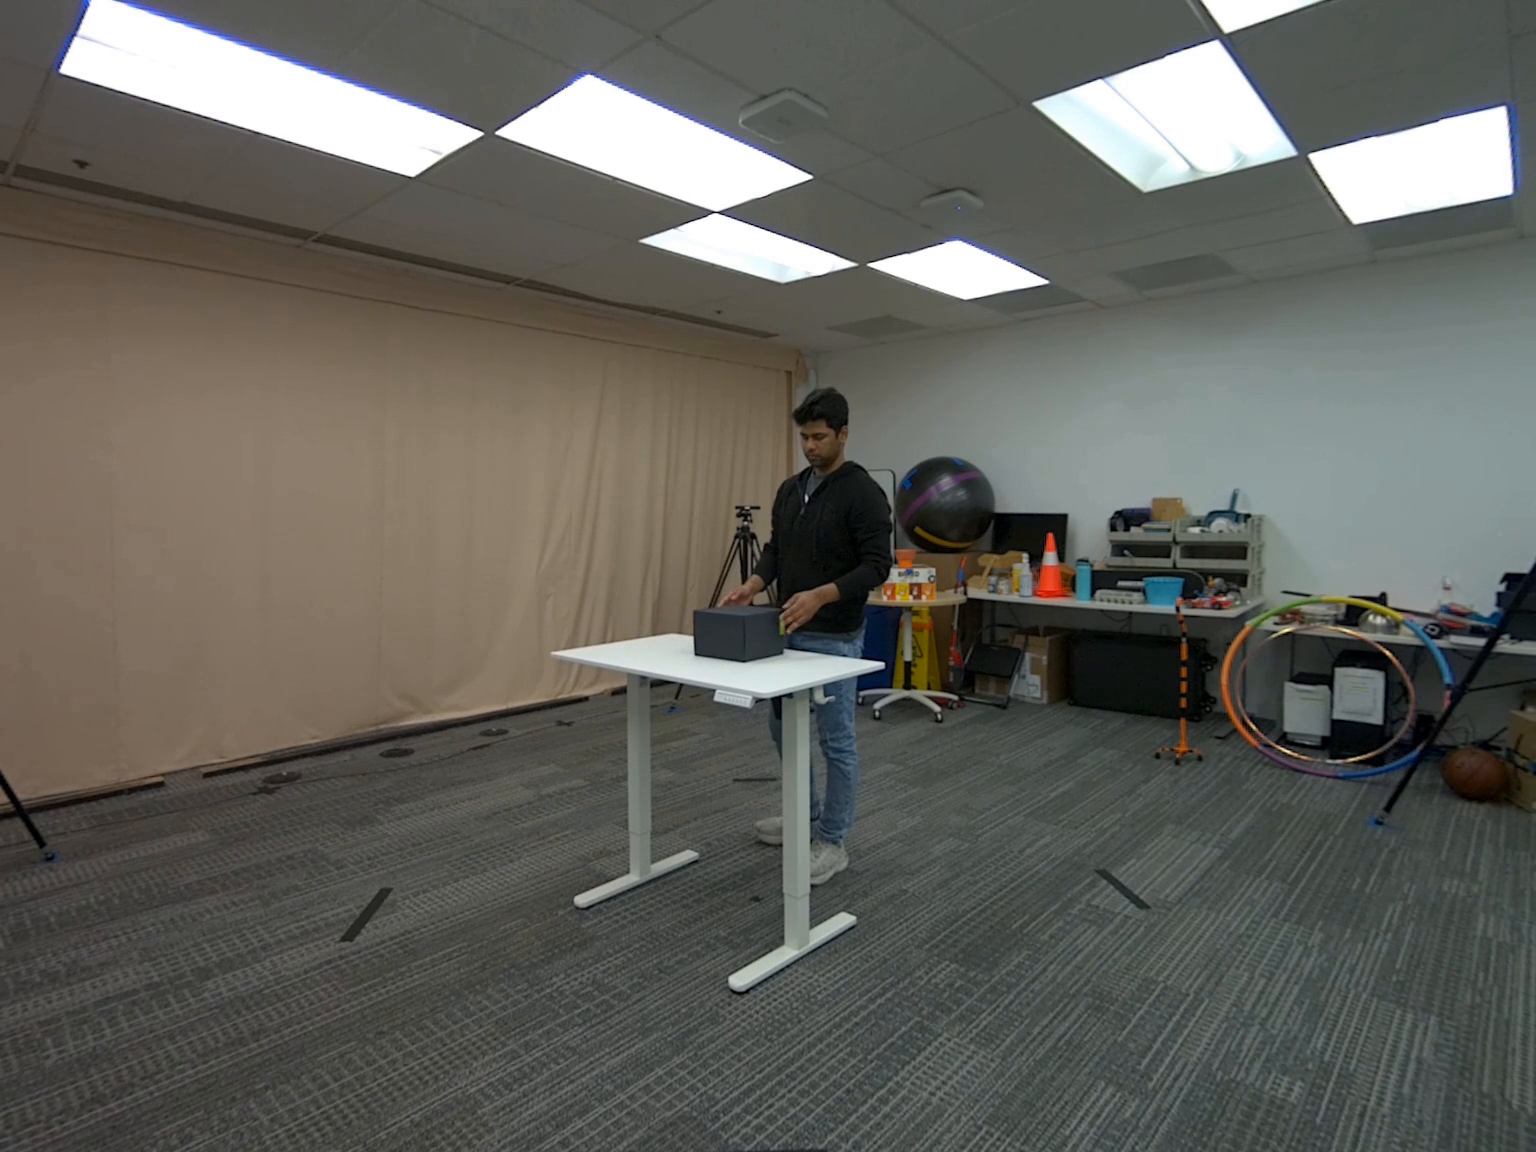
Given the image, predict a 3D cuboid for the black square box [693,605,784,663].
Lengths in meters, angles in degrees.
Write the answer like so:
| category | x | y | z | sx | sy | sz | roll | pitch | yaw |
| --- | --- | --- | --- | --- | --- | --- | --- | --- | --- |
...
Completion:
| category | x | y | z | sx | sy | sz | roll | pitch | yaw |
| --- | --- | --- | --- | --- | --- | --- | --- | --- | --- |
| black square box | -0.097 | 0.193 | 2.875 | 0.235 | 0.155 | 0.210 | 3 | 5 | 40 |
